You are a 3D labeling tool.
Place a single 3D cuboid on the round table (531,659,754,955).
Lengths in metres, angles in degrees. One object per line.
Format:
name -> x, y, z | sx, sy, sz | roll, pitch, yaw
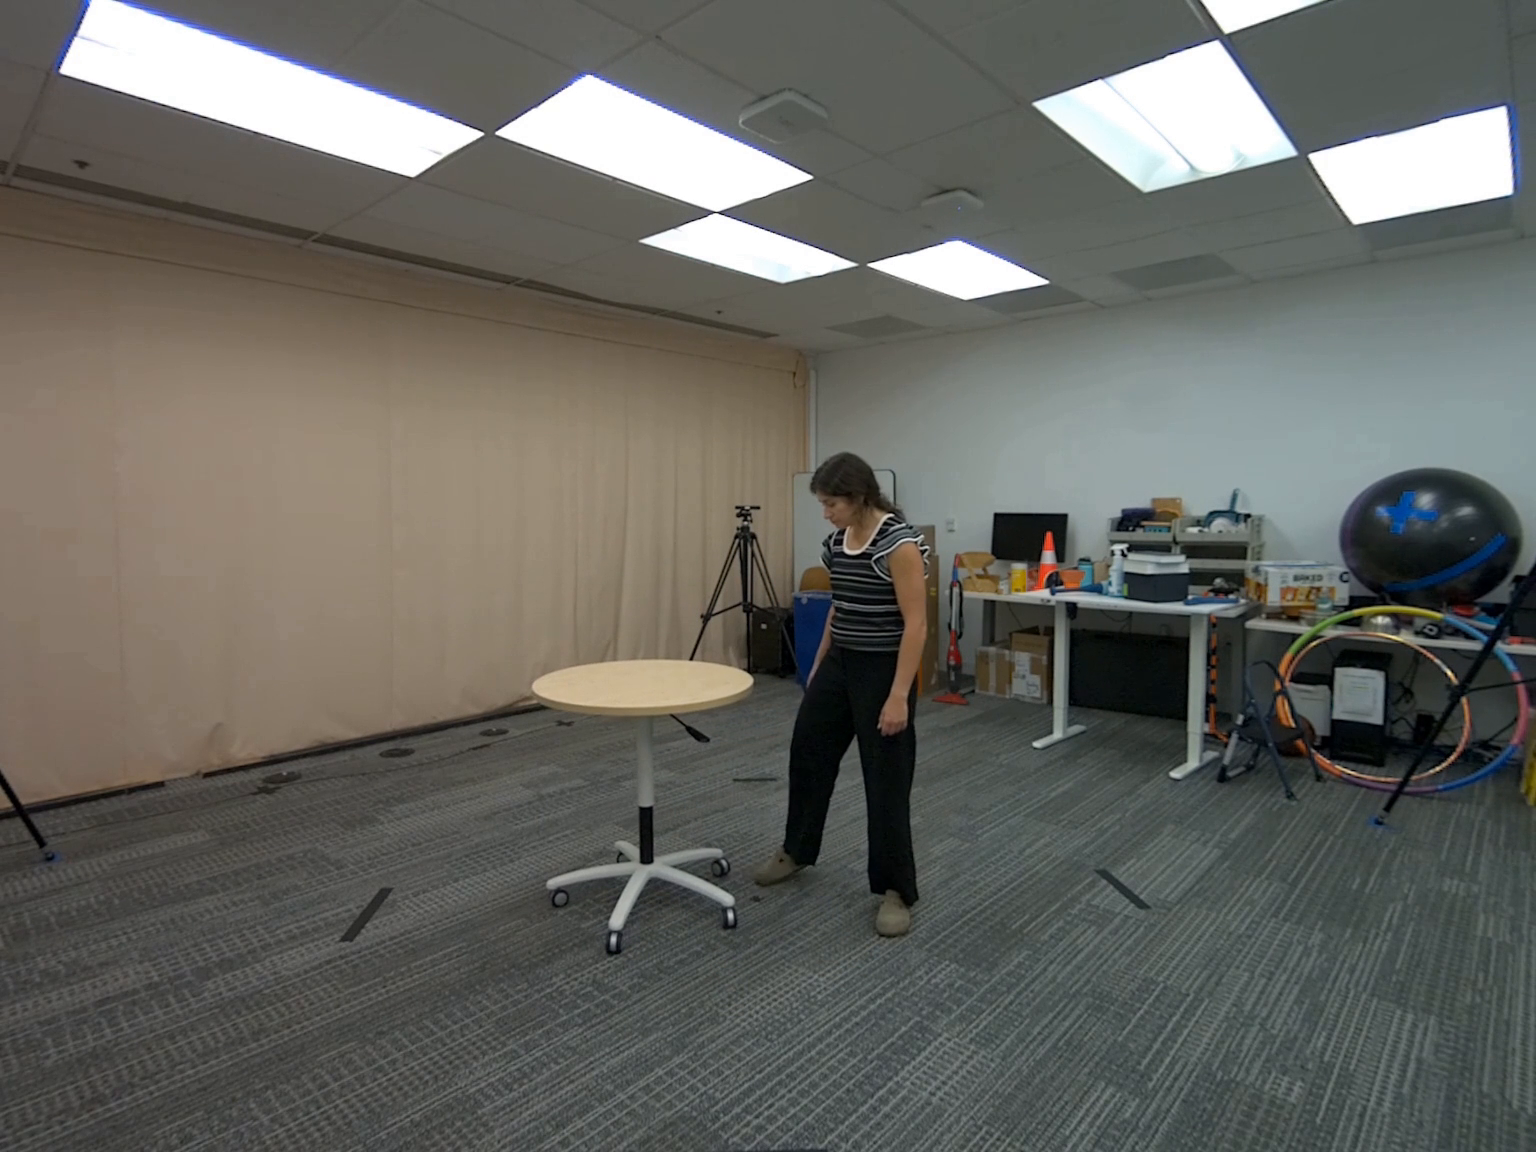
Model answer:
round table -> -0.427, 0.757, 2.969 | 0.784, 0.784, 0.788 | 0, 4, -2
